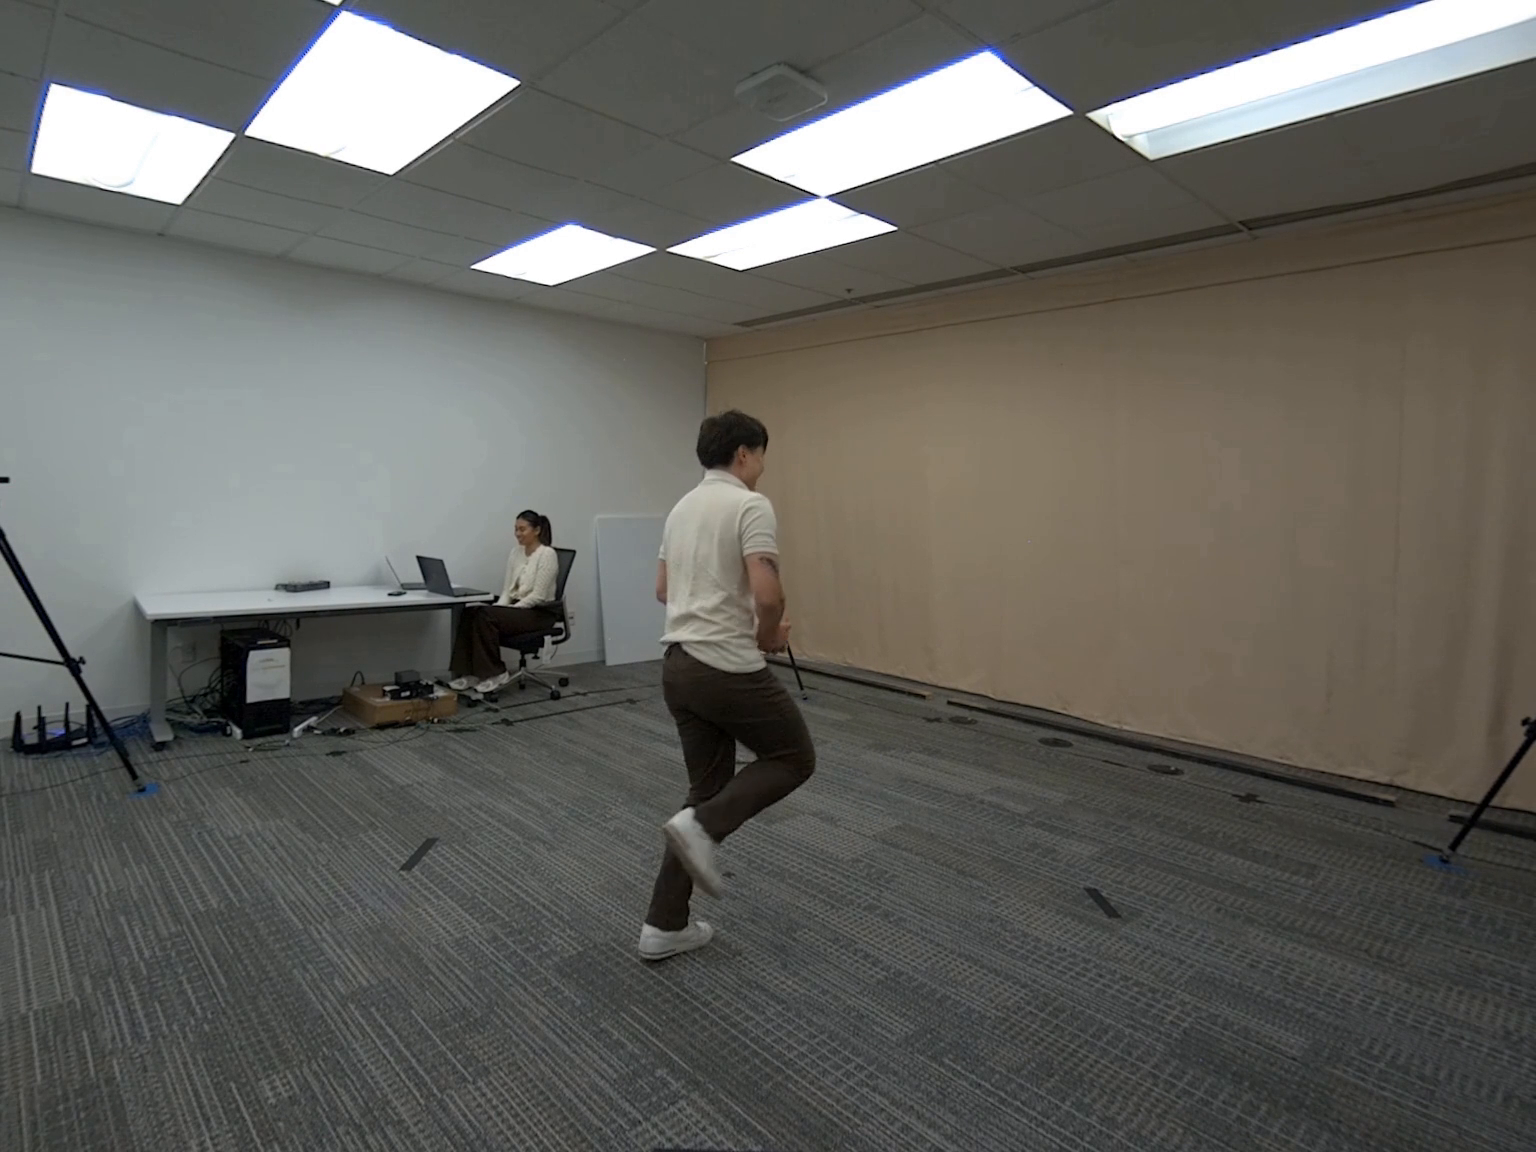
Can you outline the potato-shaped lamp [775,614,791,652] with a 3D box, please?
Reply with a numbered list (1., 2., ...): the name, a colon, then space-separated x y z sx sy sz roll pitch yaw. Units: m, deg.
1. potato-shaped lamp: -0.024 0.134 2.780 0.167 0.198 0.169 6 1 -33
